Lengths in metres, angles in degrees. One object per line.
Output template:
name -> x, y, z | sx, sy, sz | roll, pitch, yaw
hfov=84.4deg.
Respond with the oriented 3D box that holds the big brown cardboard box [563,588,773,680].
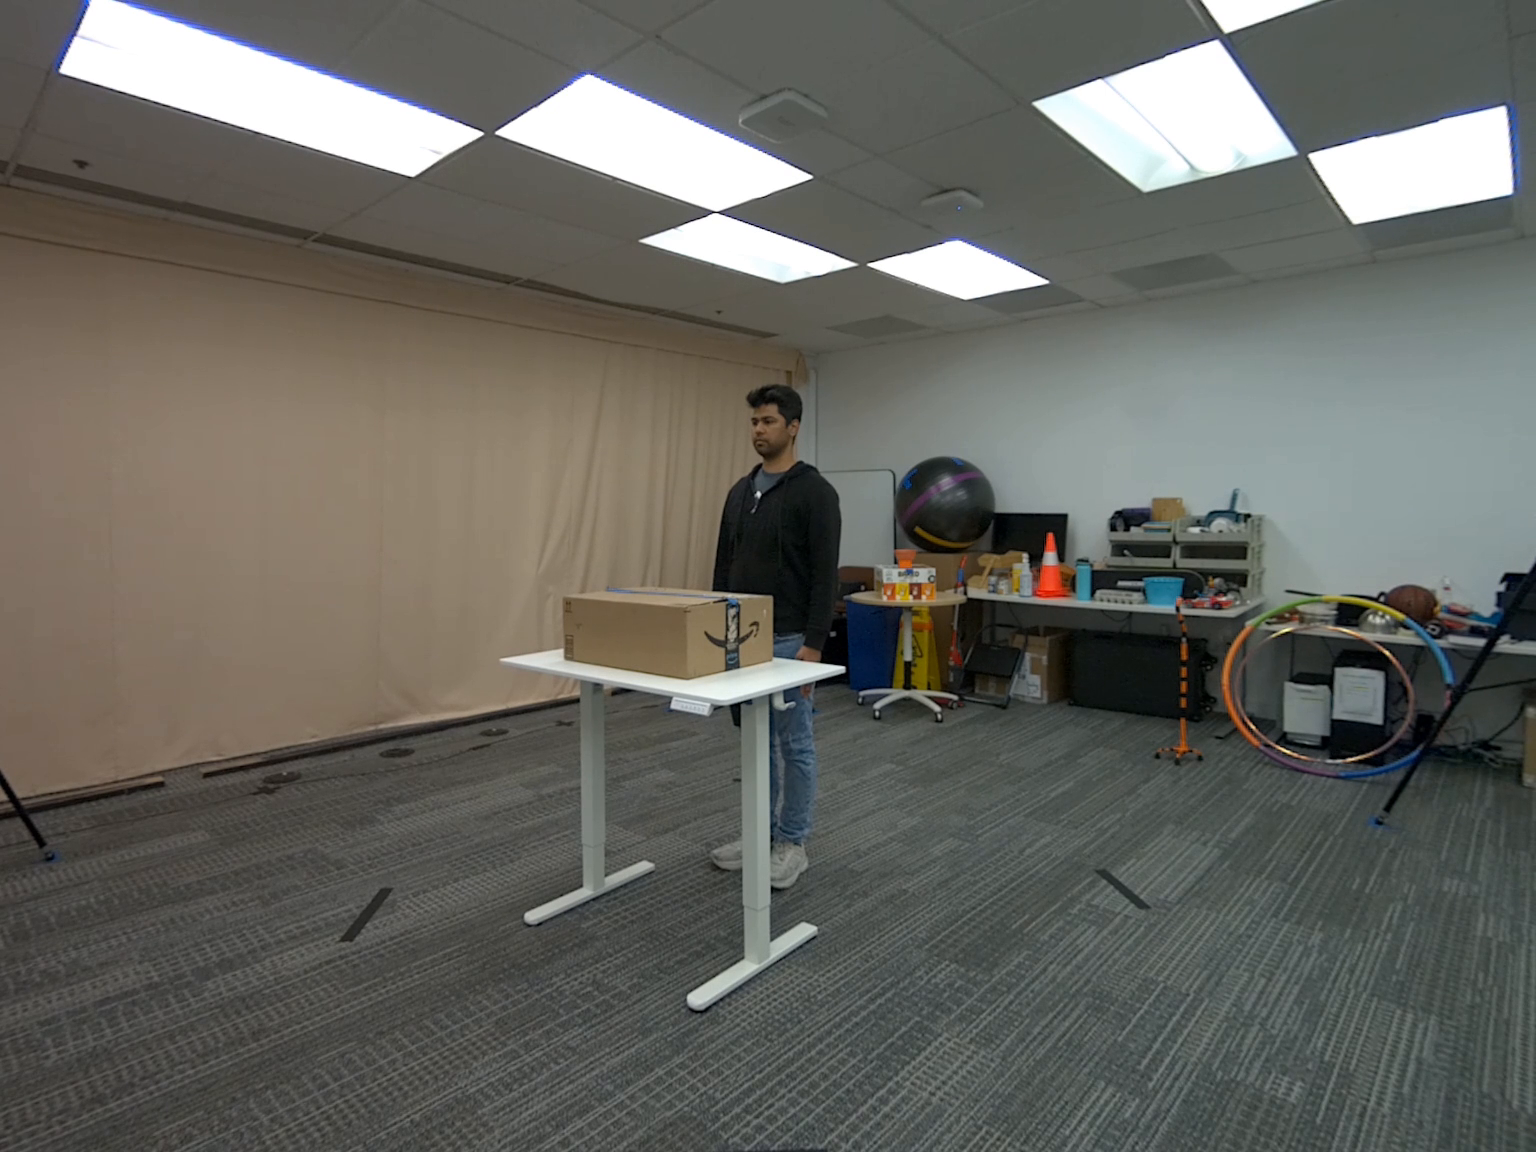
big brown cardboard box -> -0.326, 0.170, 2.789 | 0.608, 0.233, 0.405 | 2, 5, 39
